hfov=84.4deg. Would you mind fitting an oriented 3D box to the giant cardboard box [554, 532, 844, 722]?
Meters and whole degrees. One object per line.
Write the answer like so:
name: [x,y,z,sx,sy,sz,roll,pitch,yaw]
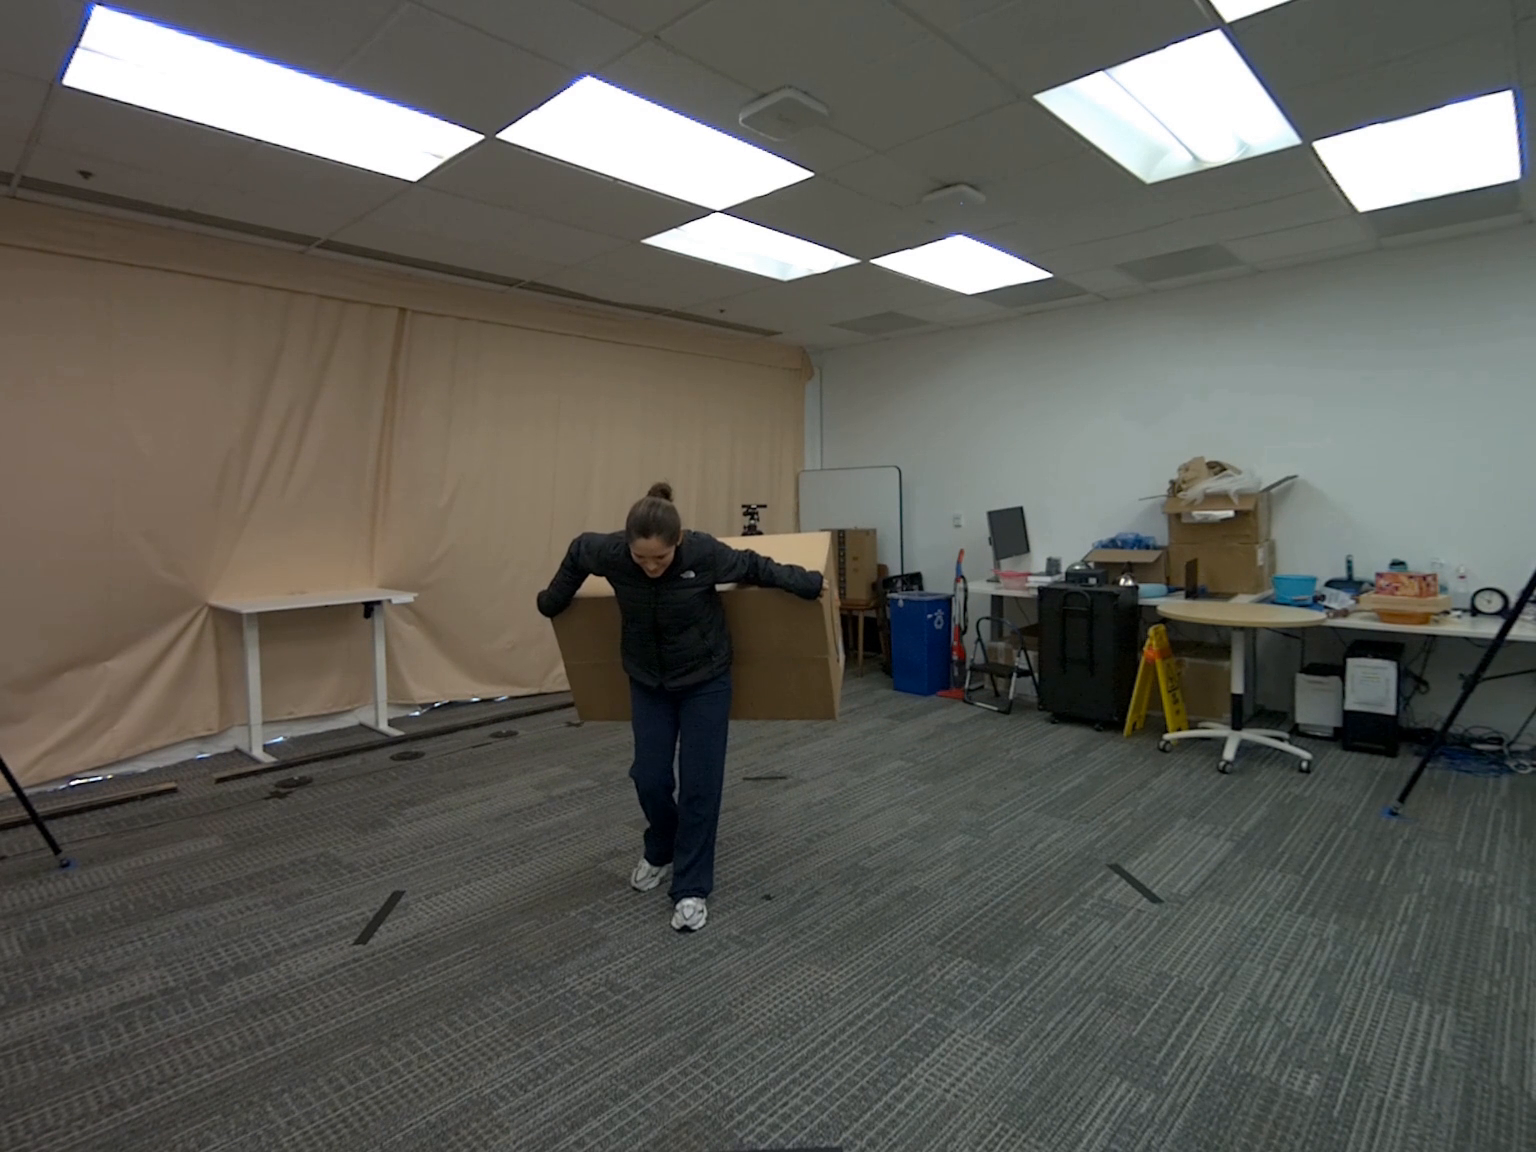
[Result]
giant cardboard box: [-0.241,0.204,3.277,1.042,0.566,0.428,-2,28,15]
